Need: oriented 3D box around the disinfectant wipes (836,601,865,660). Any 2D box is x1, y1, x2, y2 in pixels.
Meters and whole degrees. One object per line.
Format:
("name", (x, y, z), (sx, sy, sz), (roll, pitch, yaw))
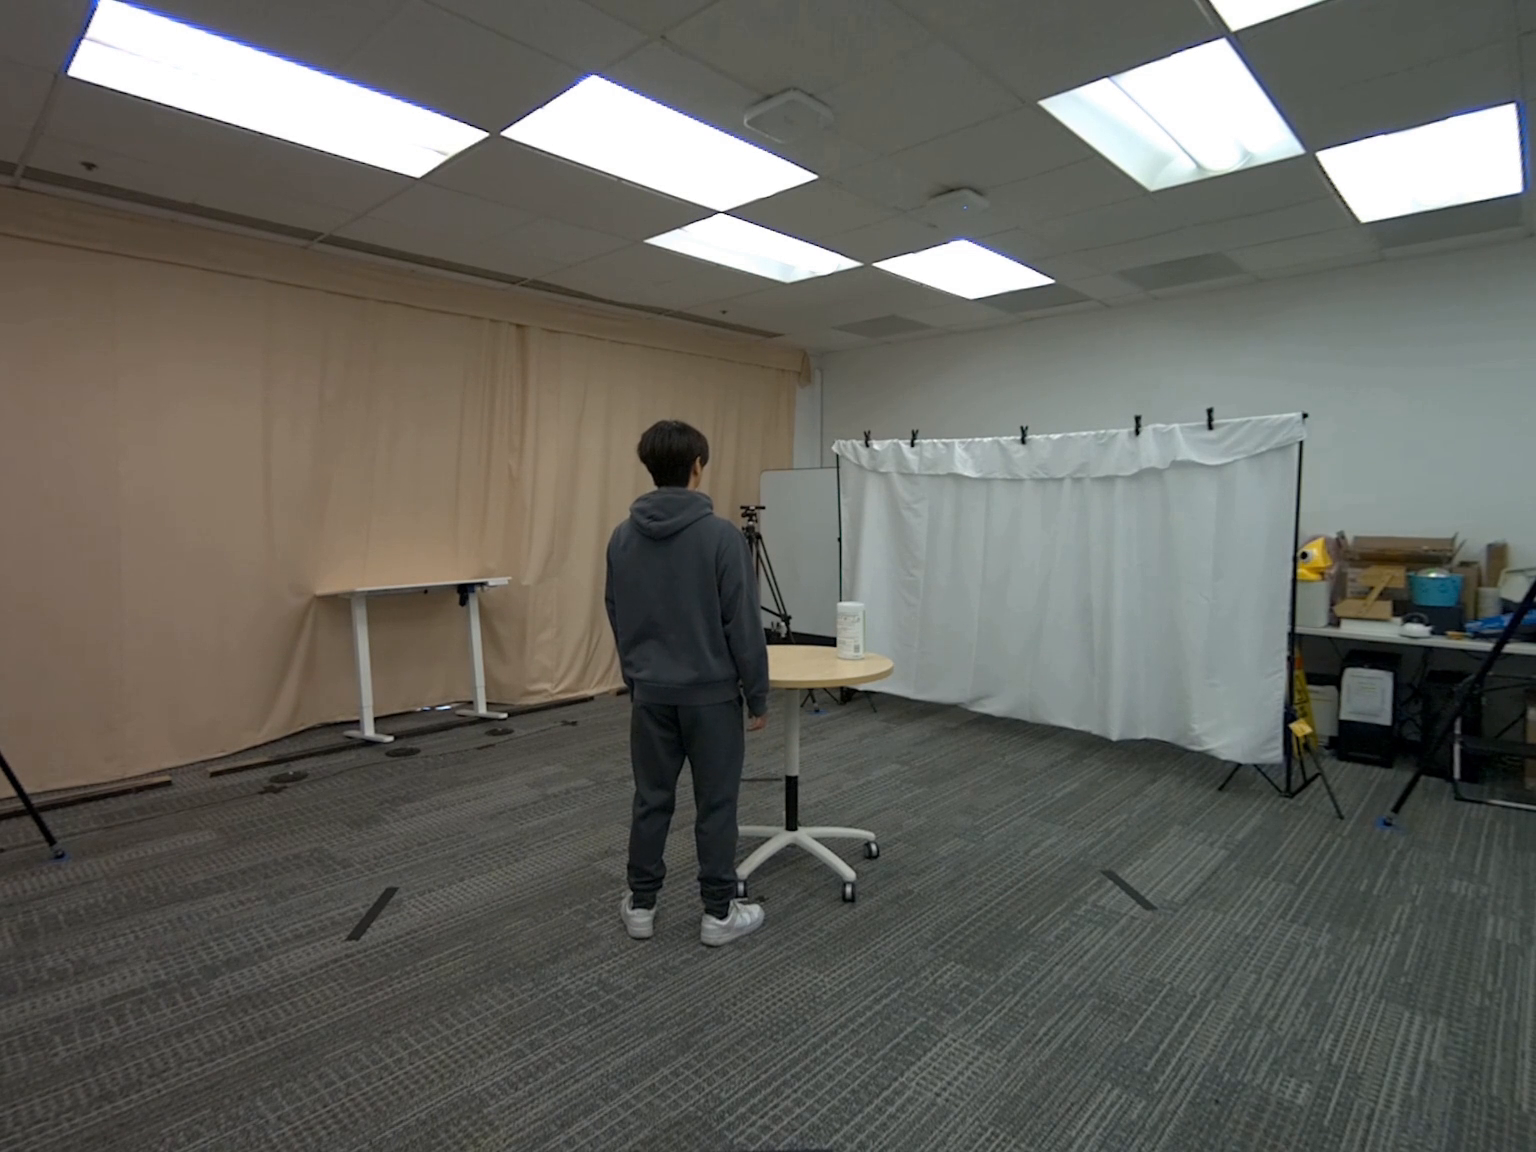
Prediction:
("disinfectant wipes", (0.329, 0.214, 3.291), (0.118, 0.217, 0.118), (-1, 2, -2))
